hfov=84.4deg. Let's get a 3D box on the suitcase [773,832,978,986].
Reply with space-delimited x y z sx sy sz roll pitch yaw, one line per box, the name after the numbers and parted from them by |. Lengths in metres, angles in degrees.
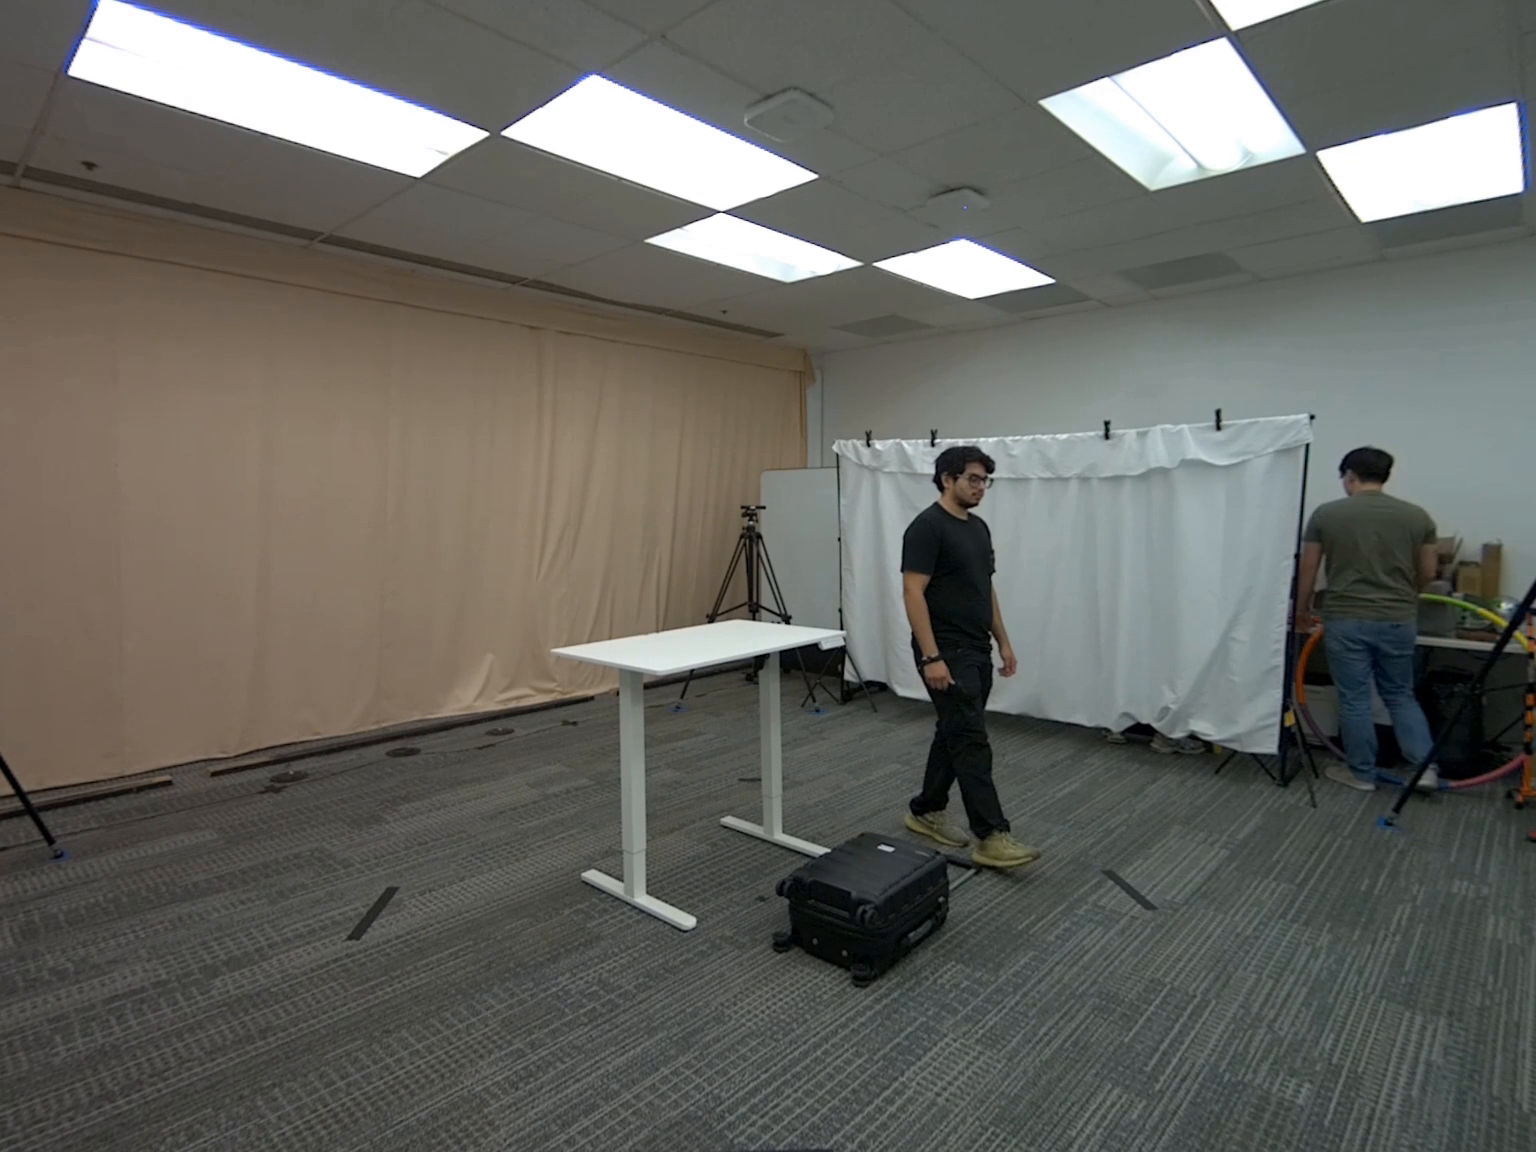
0.456 1.024 2.869 0.396 0.256 0.950 2 7 39 | suitcase
